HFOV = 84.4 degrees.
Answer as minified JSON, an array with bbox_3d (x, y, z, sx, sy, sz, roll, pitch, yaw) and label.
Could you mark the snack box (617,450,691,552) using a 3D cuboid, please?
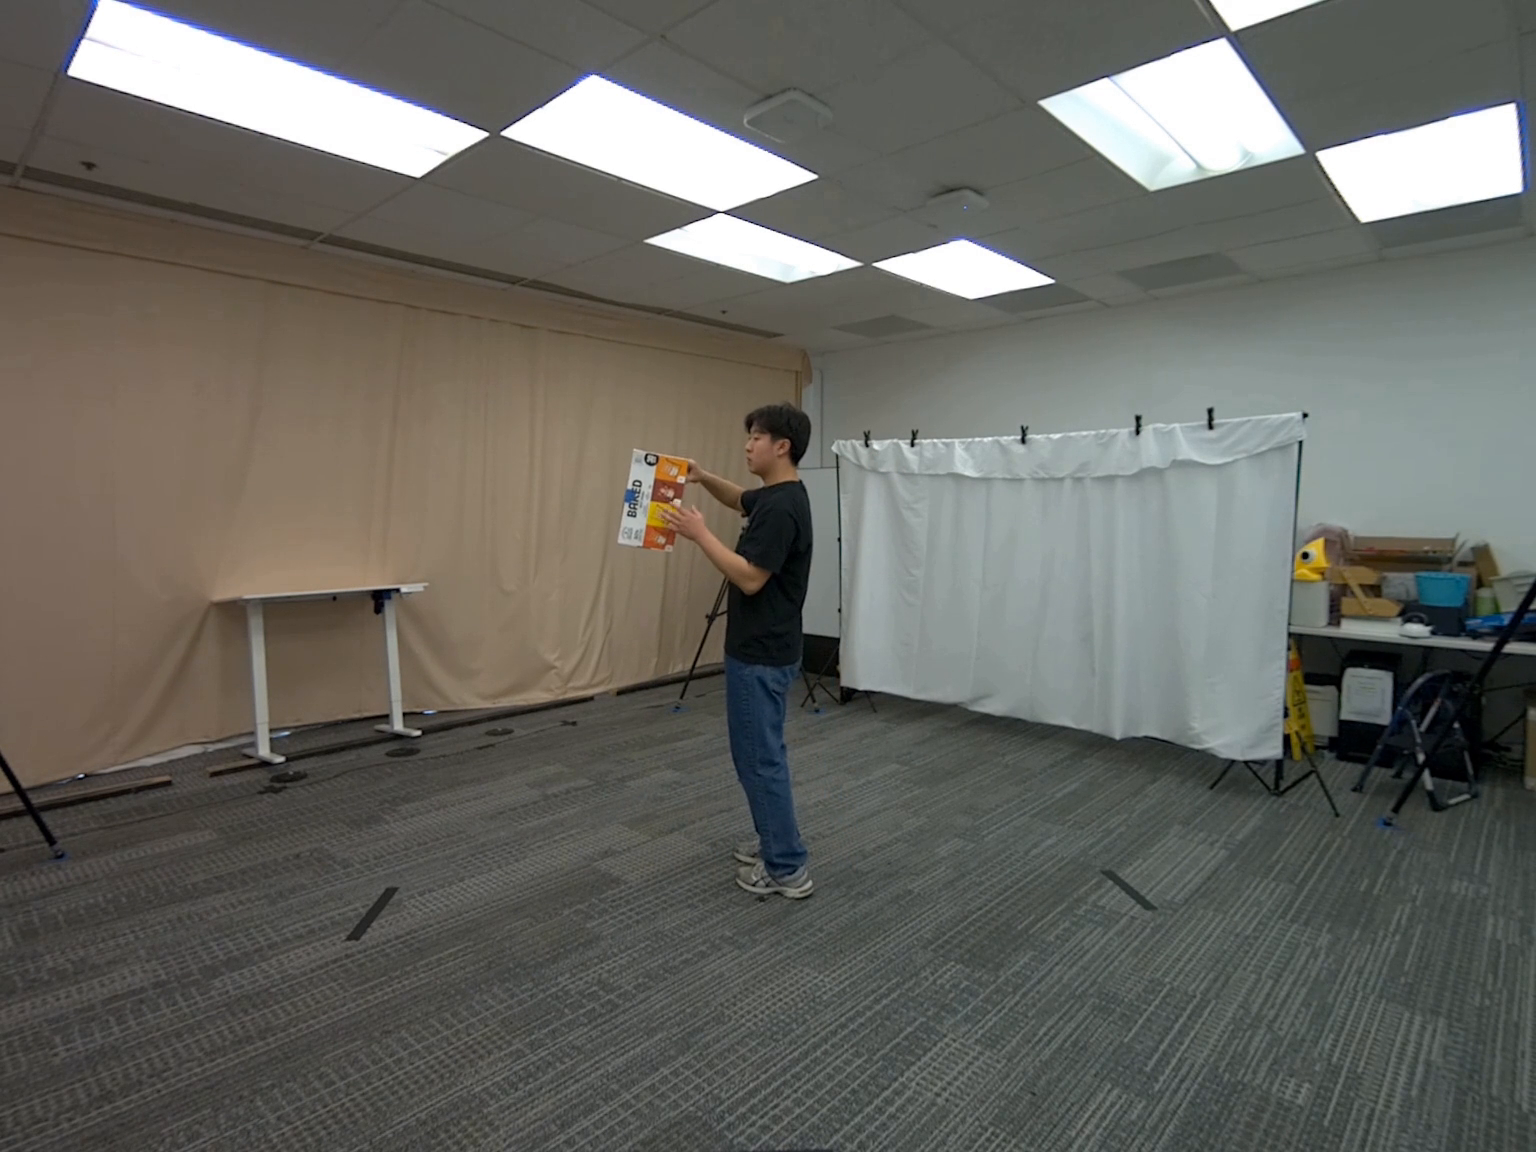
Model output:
[{"bbox_3d":[-0.430,-0.275,3.213,0.204,0.340,0.408,10,1,-7],"label":"snack box"}]
